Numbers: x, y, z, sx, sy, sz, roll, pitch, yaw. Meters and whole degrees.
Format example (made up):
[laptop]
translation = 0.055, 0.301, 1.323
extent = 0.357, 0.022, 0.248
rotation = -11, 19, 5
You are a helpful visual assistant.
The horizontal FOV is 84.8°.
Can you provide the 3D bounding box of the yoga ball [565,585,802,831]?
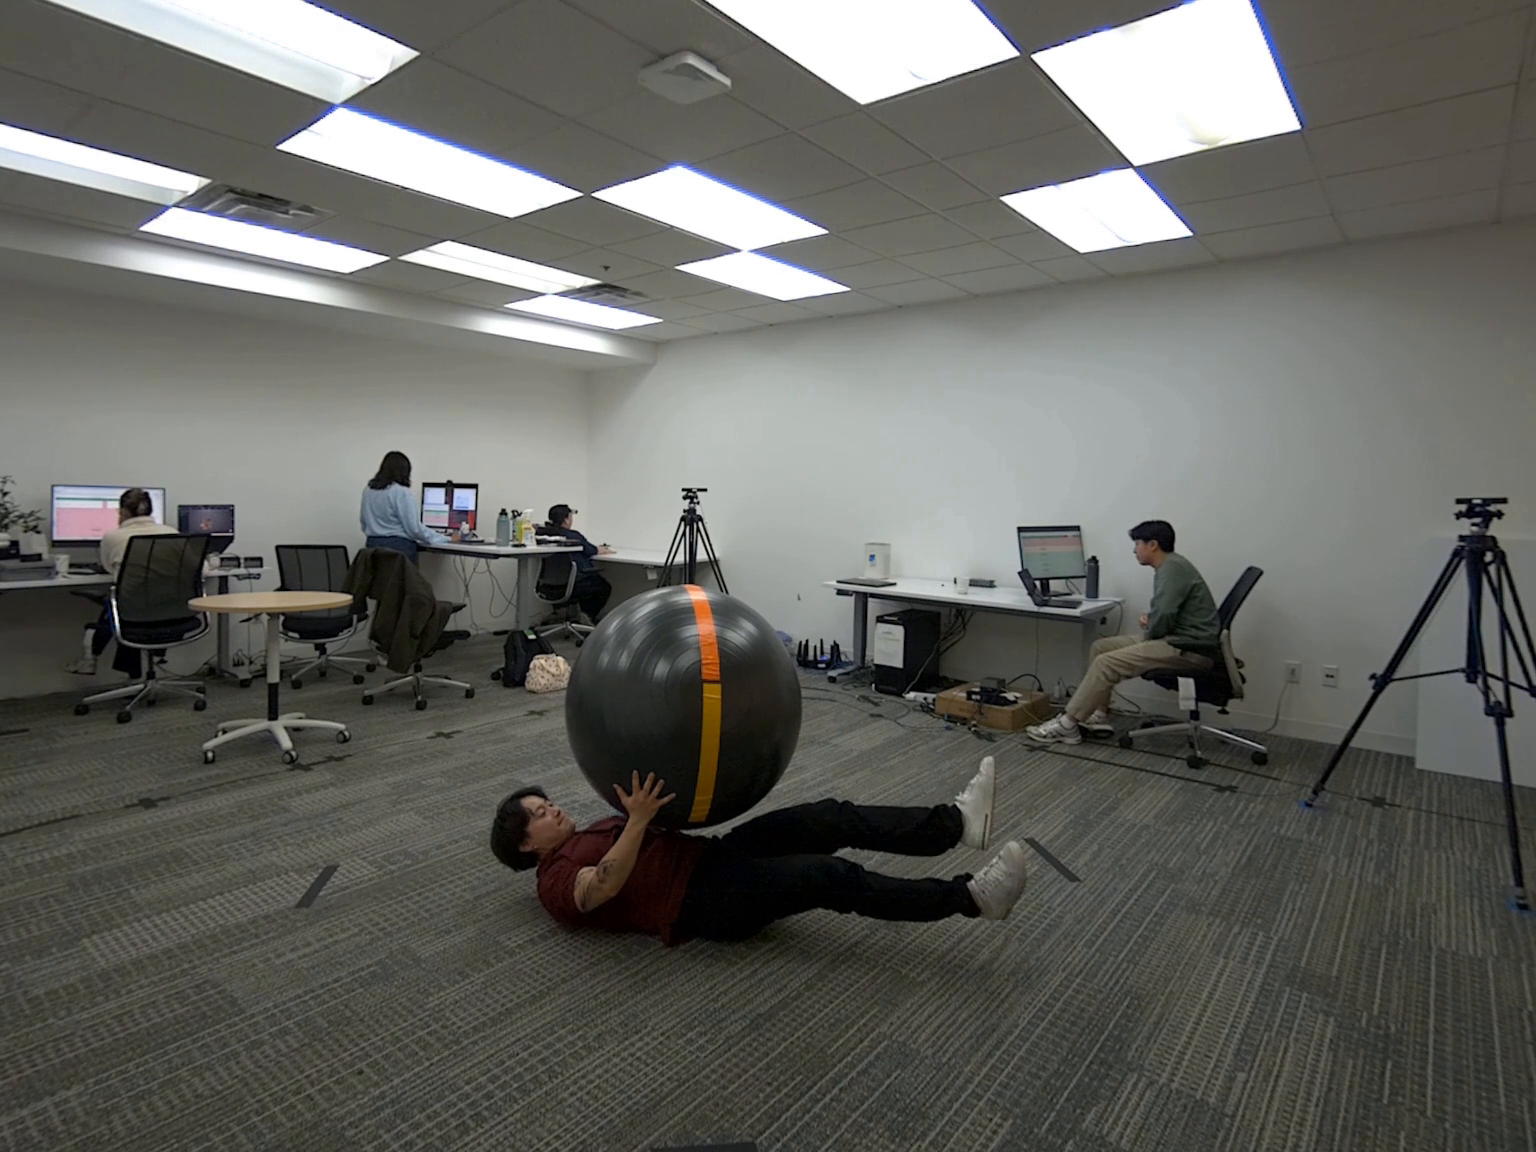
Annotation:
[yoga ball]
translation = -0.275, 0.410, 2.727
extent = 0.757, 0.755, 0.762
rotation = 1, 4, -2
